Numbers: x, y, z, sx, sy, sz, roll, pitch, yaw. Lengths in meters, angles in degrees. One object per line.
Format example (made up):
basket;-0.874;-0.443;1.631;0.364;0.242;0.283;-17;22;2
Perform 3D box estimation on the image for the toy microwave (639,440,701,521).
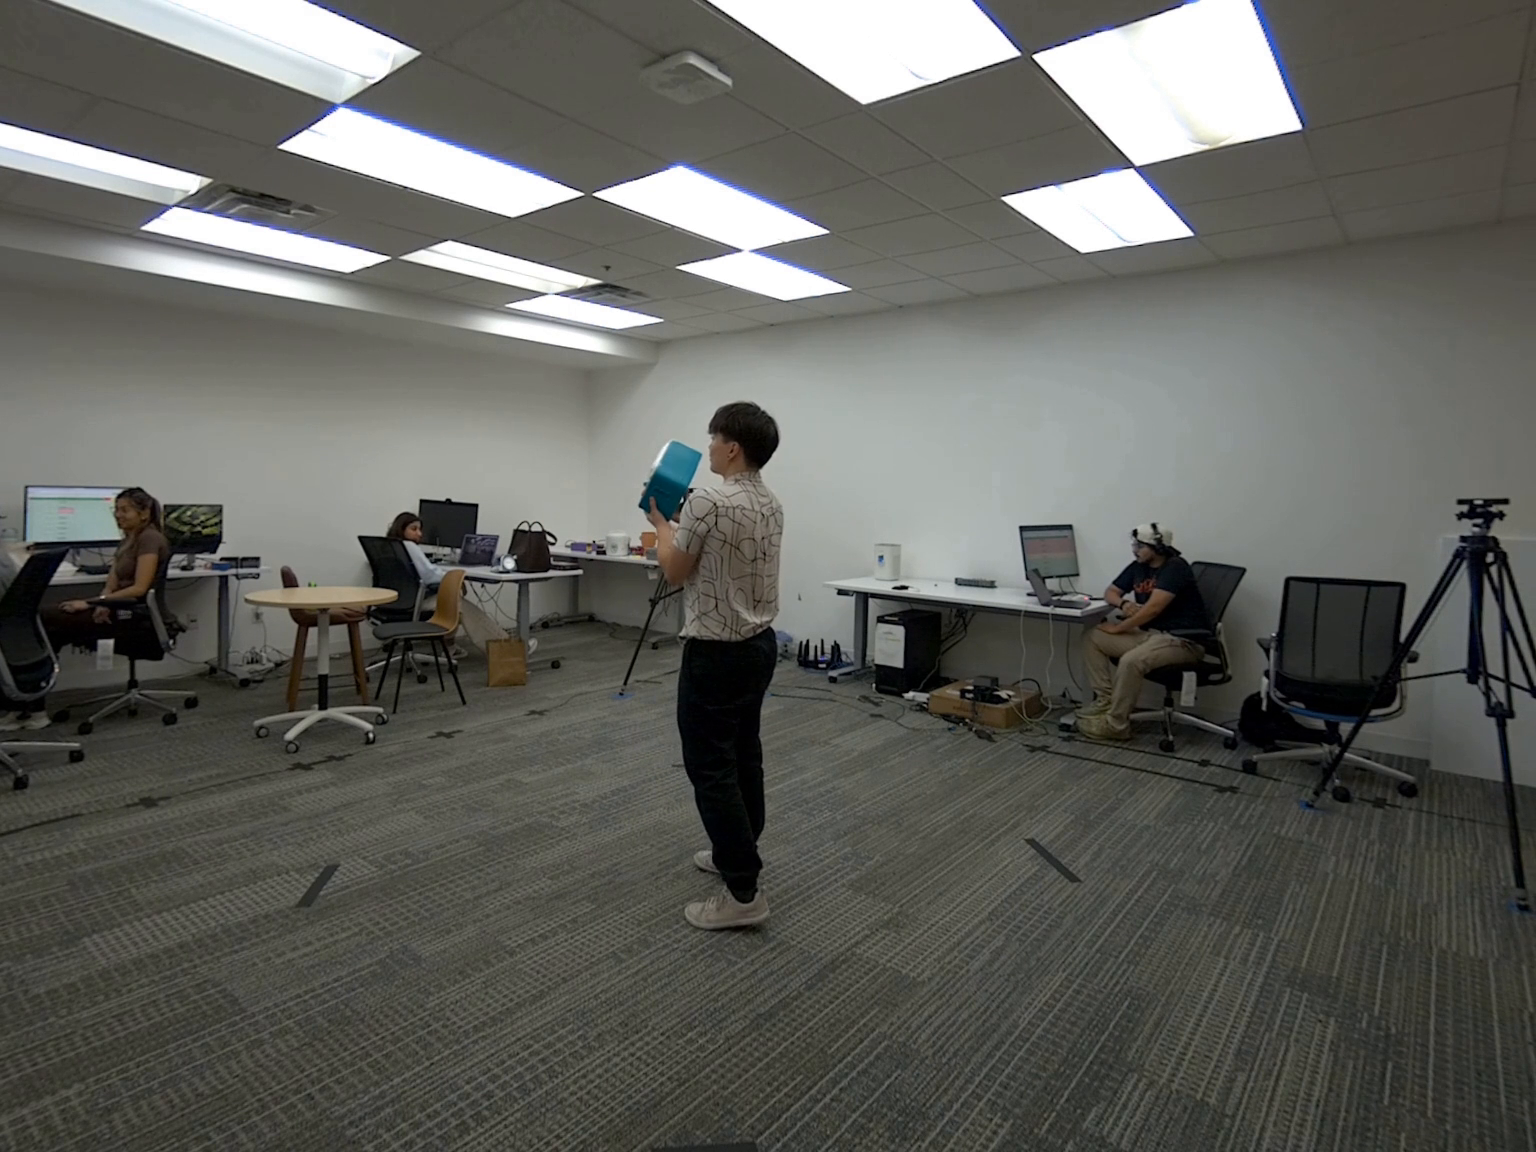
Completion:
toy microwave;-0.370;-0.356;3.102;0.151;0.182;0.291;24;34;-8
